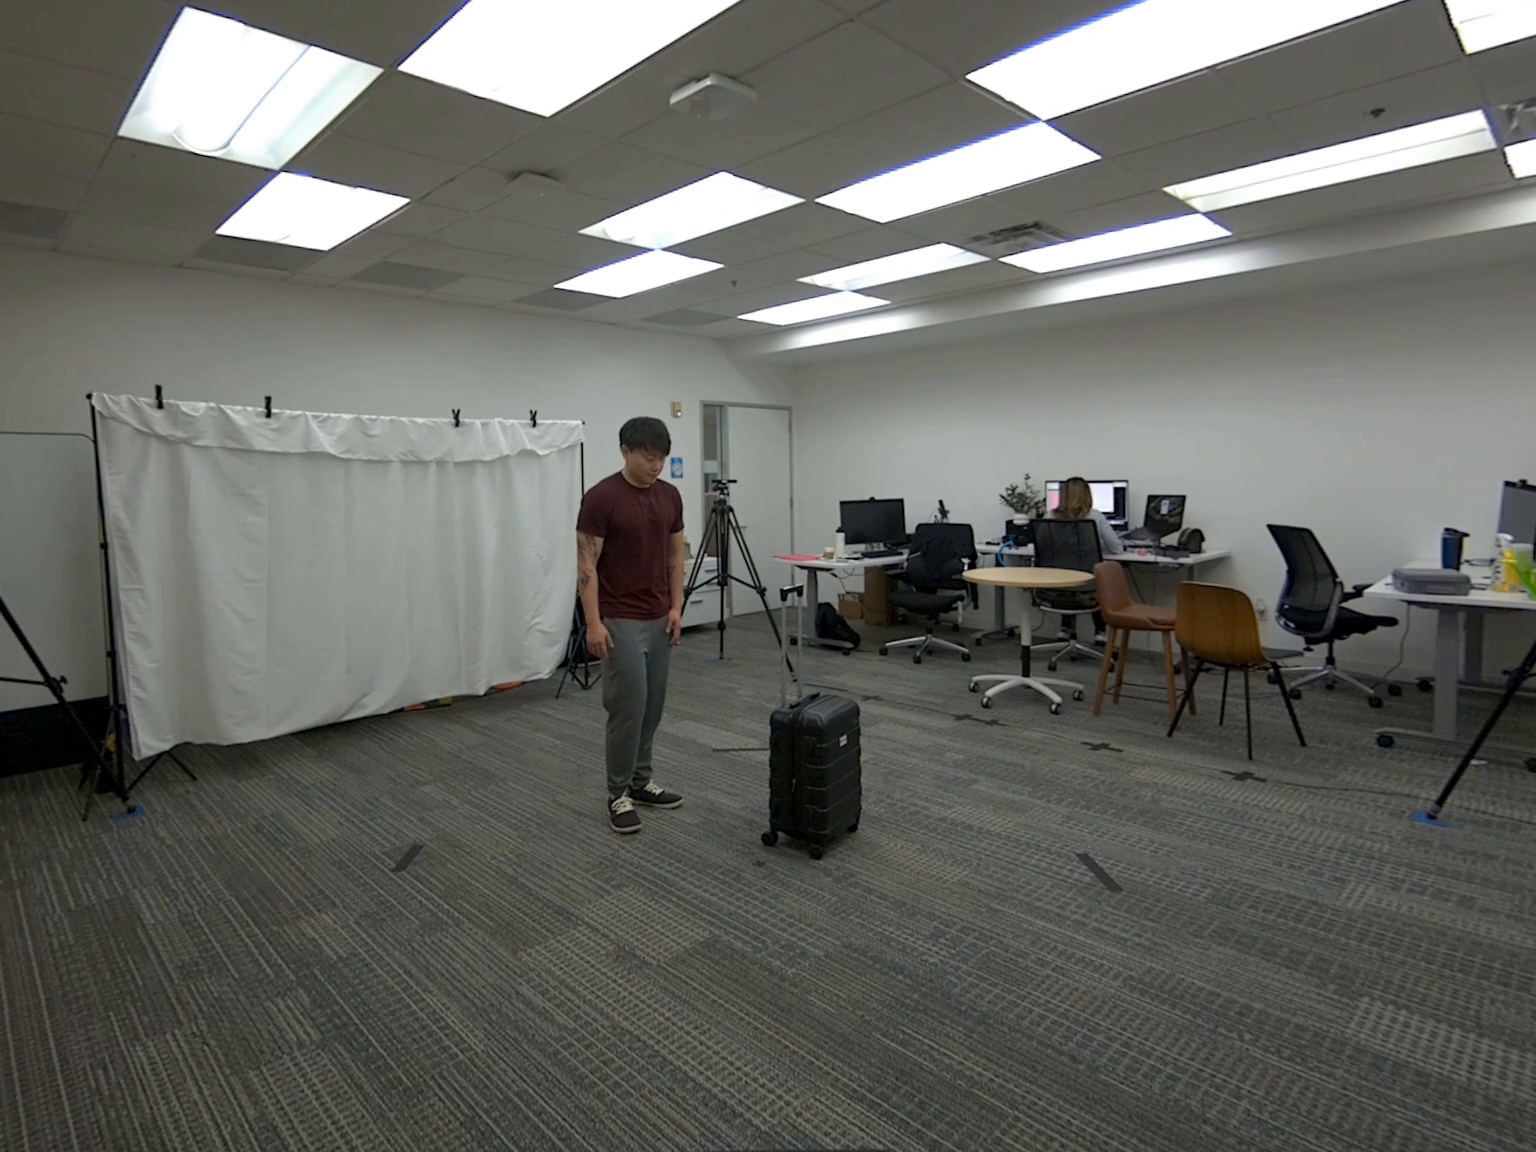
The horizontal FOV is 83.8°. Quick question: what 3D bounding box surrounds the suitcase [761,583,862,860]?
[{"bbox_3d":[0.192,0.546,3.288,0.264,0.974,0.375,4,5,32],"label":"suitcase"}]
